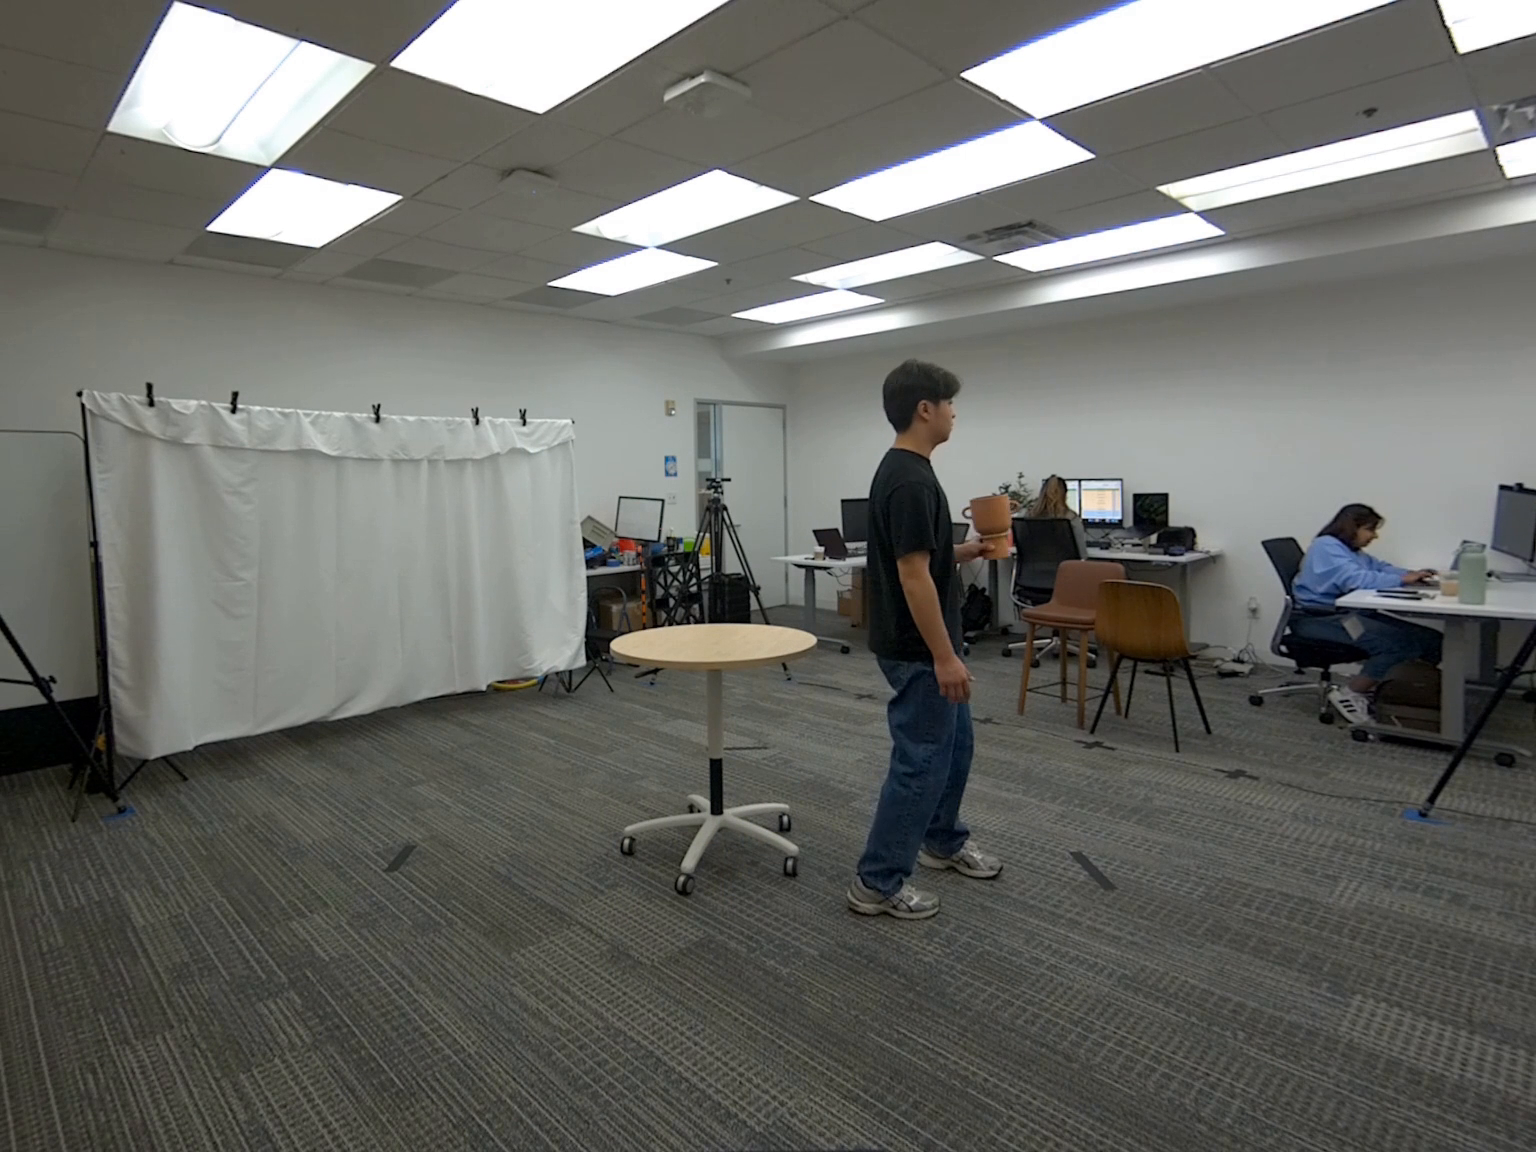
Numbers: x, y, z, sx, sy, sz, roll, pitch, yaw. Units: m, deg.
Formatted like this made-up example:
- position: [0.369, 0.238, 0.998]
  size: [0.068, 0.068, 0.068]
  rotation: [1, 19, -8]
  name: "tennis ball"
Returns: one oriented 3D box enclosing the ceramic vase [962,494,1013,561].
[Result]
- position: [0.798, -0.175, 3.032]
  size: [0.132, 0.219, 0.163]
  rotation: [-10, 5, -32]
  name: "ceramic vase"
